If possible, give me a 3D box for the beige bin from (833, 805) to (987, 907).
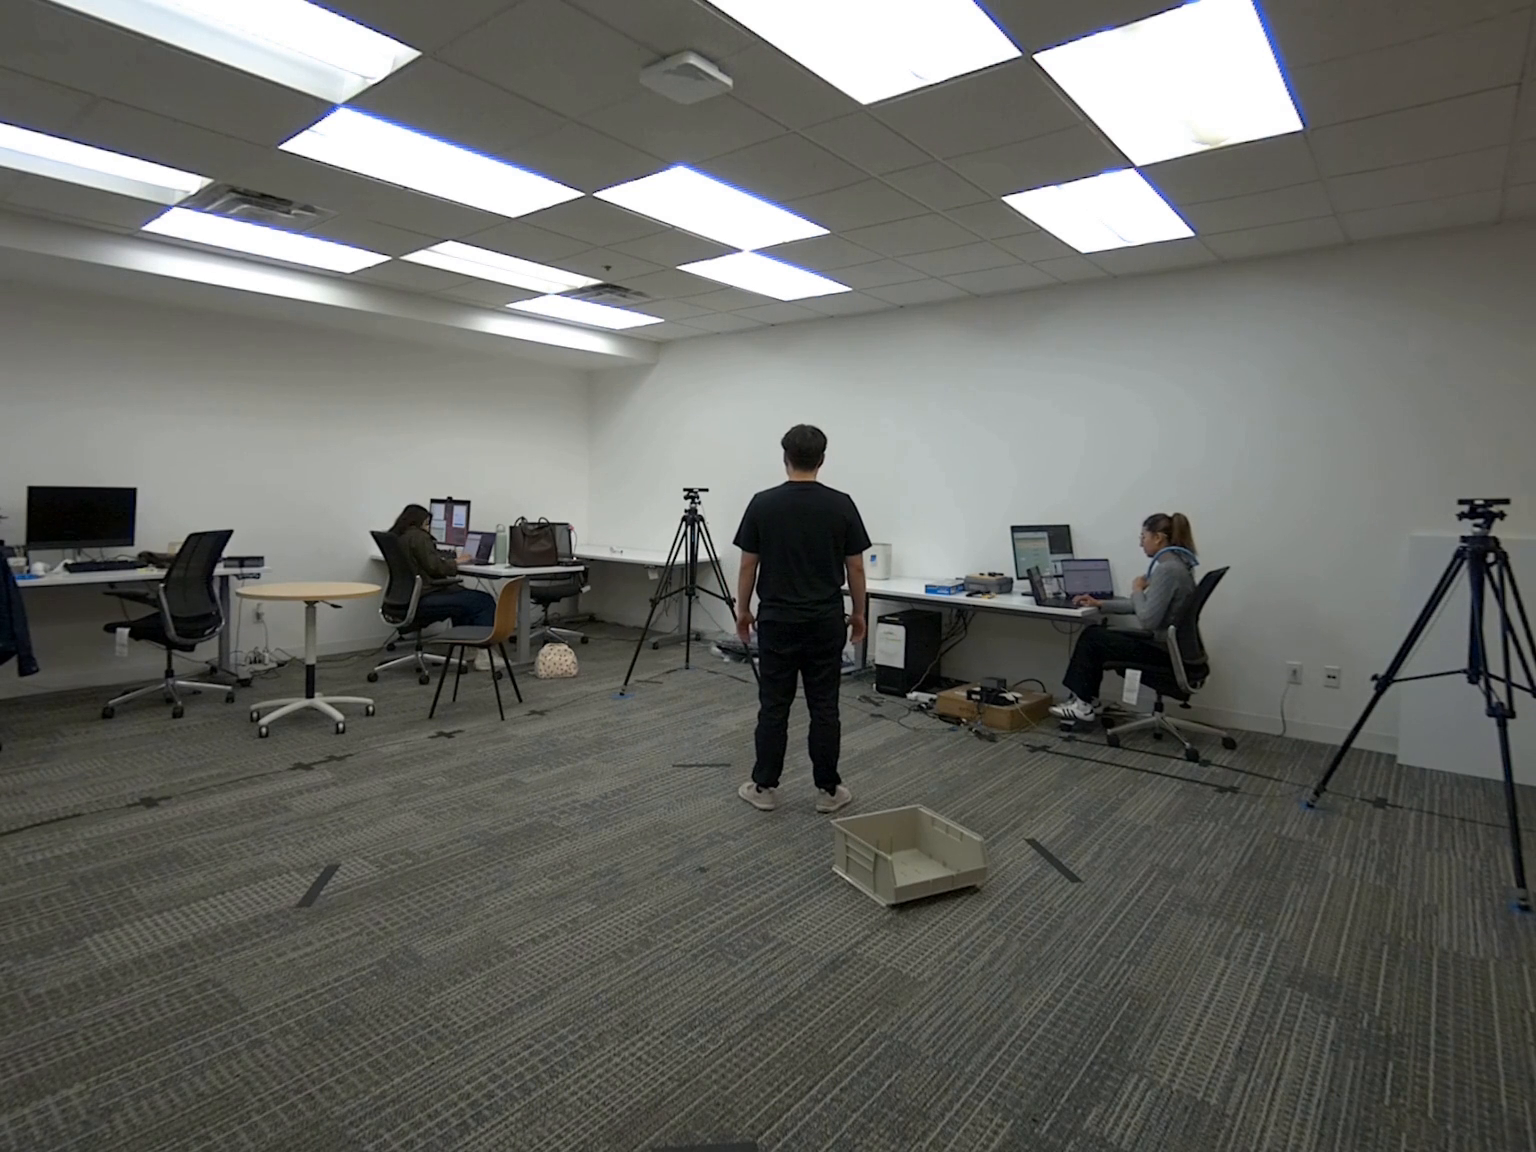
[{"bbox_3d":[0.500,0.998,3.062,0.411,0.188,0.388,-2,4,-28],"label":"beige bin"}]
